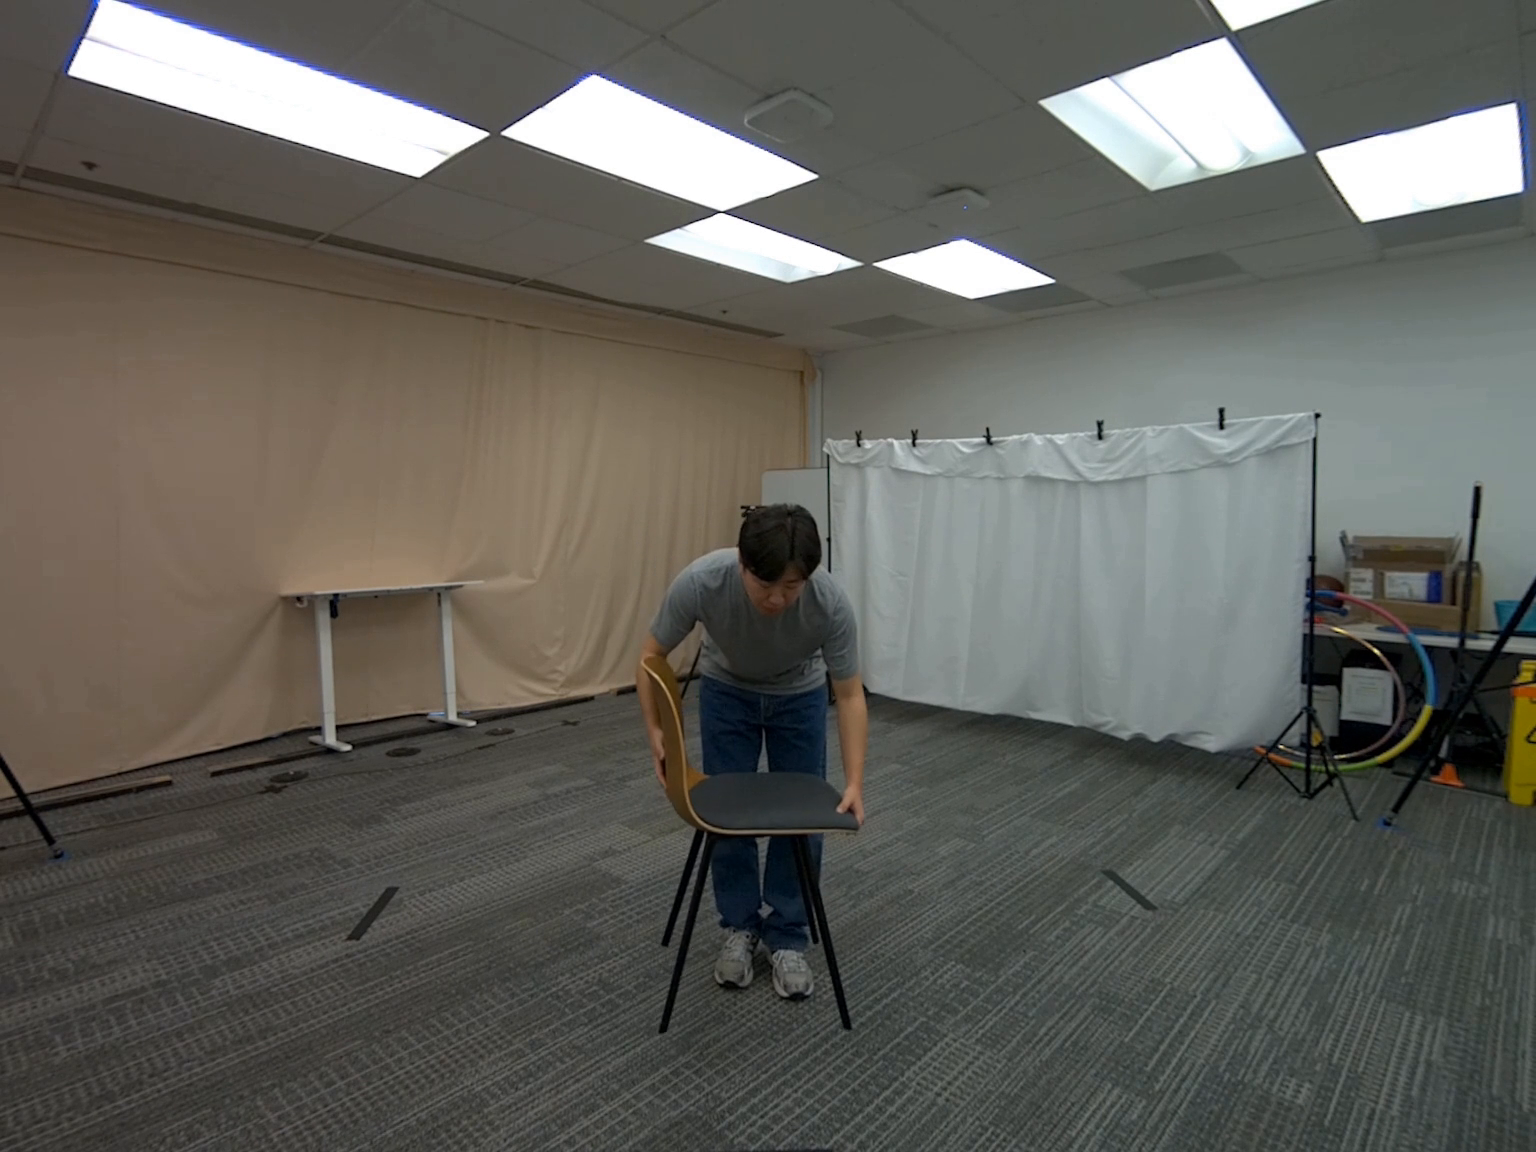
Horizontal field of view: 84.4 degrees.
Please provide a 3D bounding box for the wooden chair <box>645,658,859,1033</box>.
[{"bbox_3d":[-0.037,0.639,2.199,0.520,0.877,0.481,-3,1,-6],"label":"wooden chair"}]
